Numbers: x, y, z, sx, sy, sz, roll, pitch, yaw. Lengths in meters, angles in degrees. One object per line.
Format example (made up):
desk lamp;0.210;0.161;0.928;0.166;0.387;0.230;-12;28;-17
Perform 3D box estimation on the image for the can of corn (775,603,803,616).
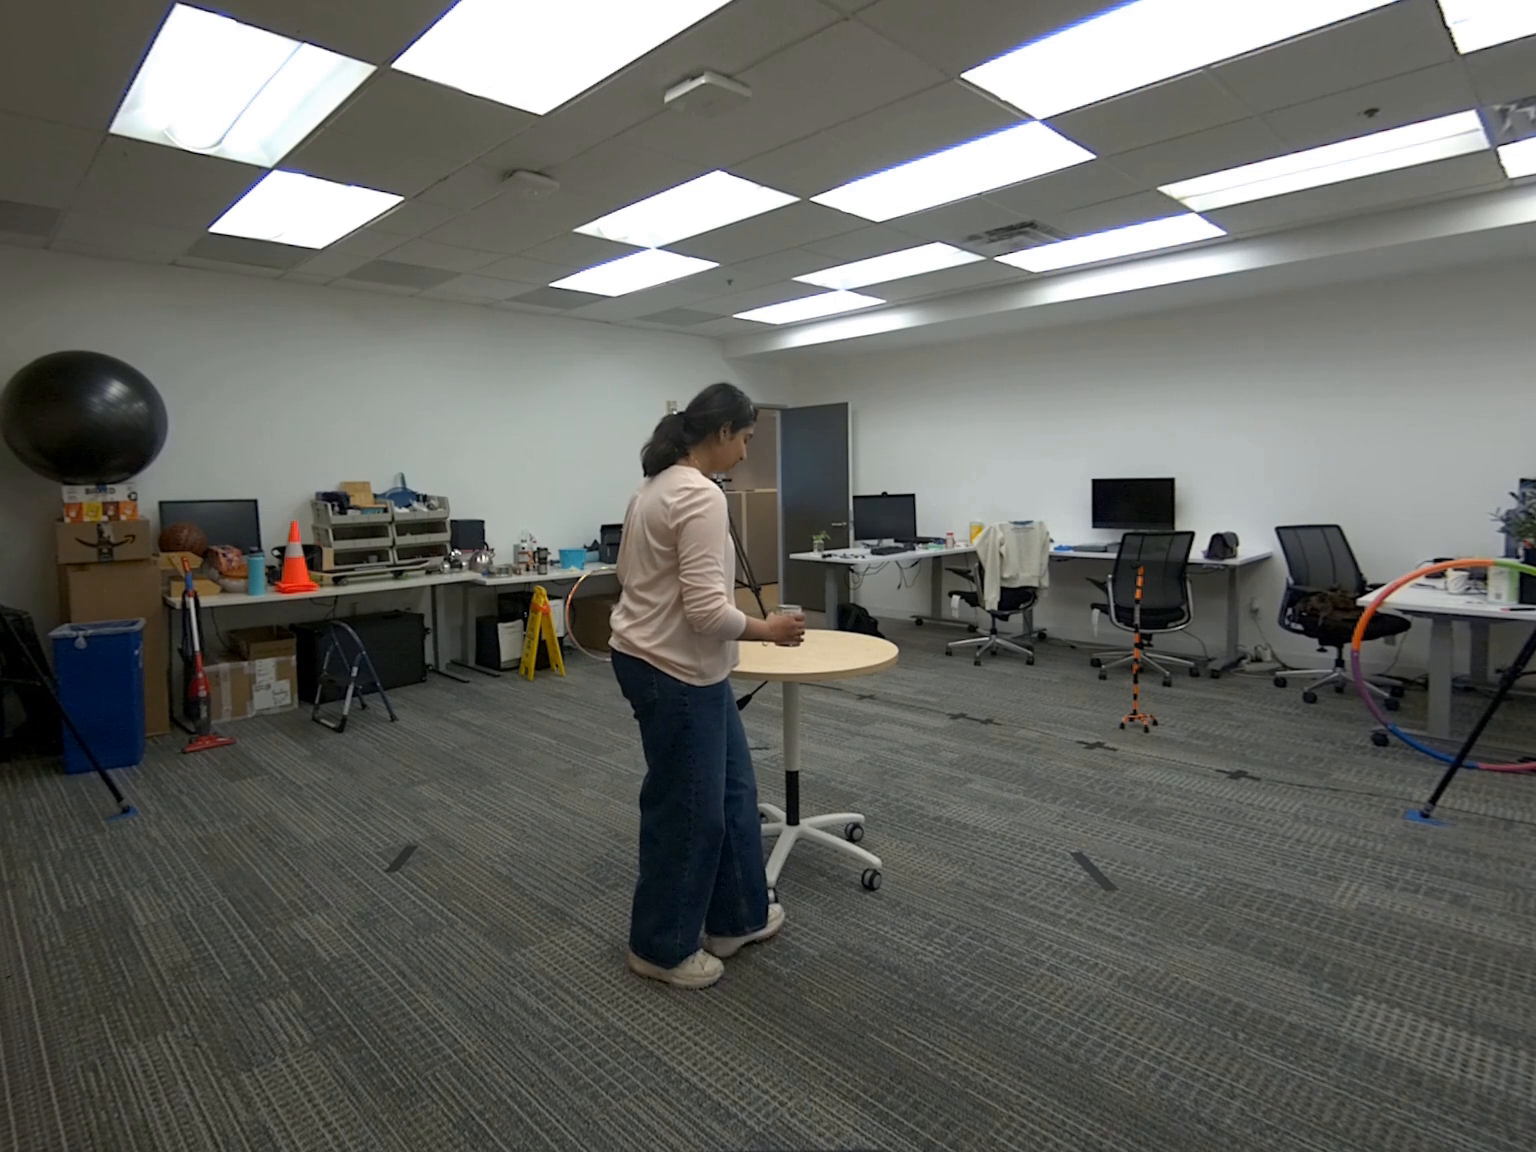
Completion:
can of corn;0.061;0.140;2.431;0.074;0.110;0.075;5;6;-2
